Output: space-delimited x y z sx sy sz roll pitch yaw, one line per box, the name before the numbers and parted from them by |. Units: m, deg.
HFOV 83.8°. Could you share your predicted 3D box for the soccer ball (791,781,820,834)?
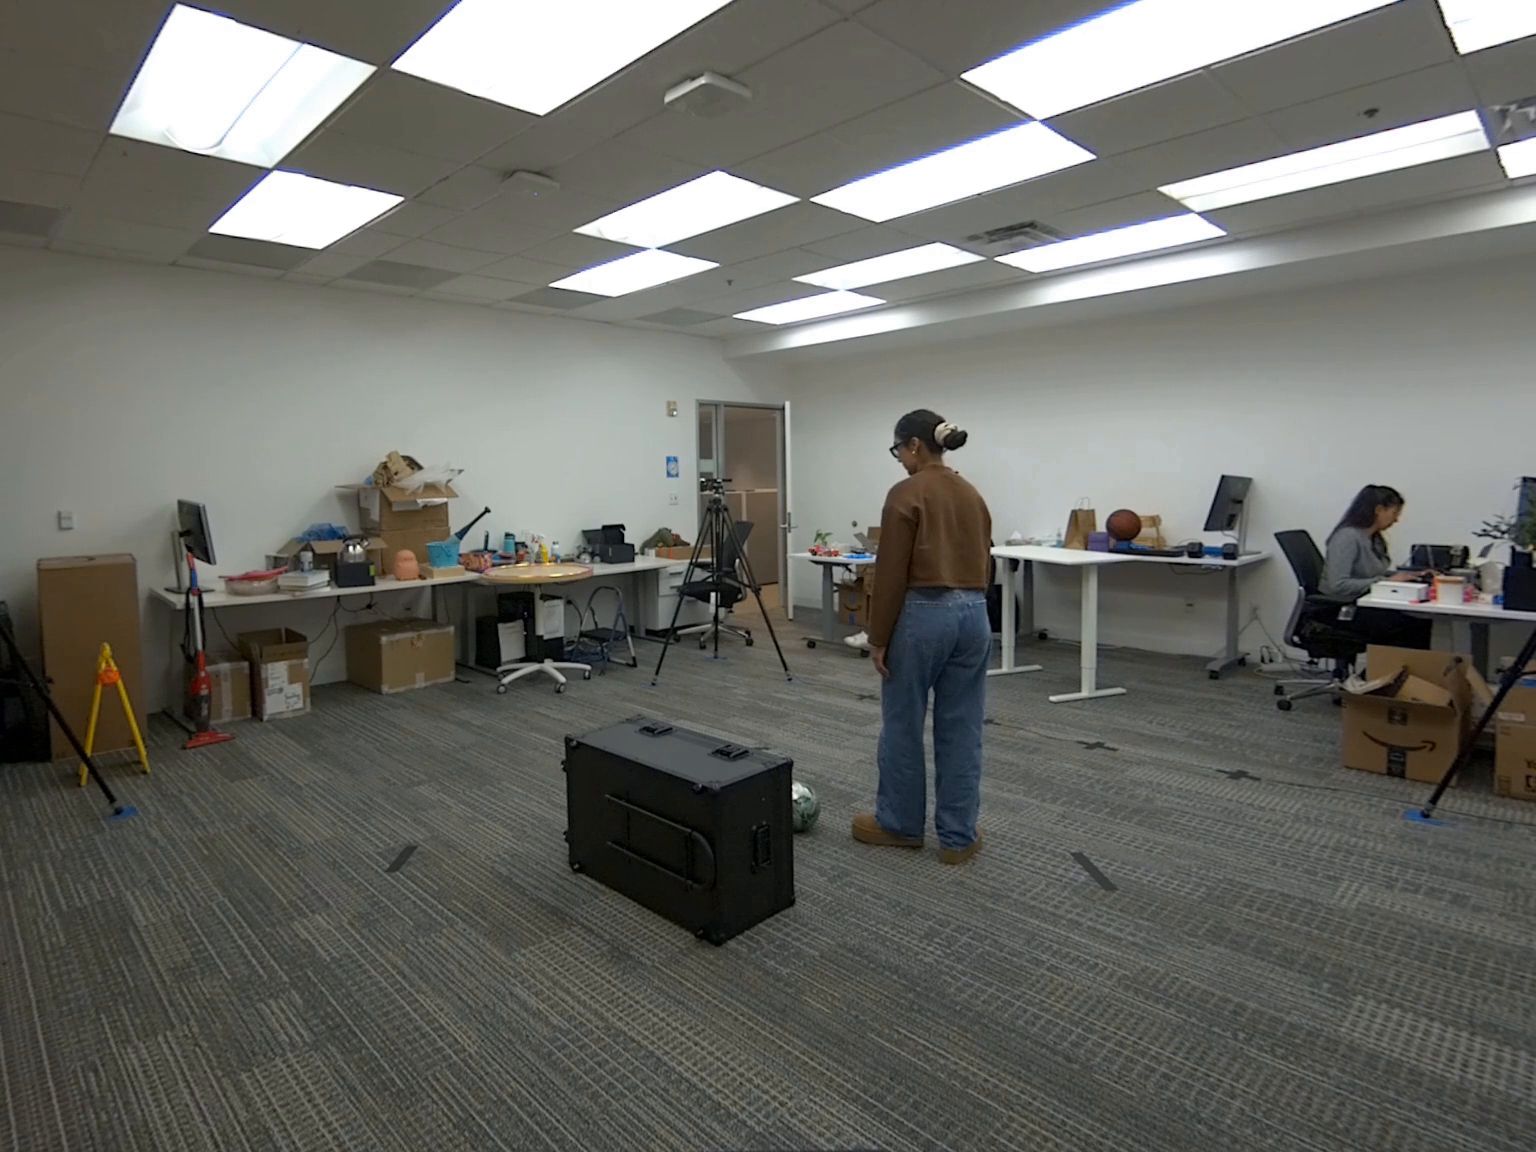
soccer ball | 0.121 0.911 3.406 0.187 0.187 0.188 -1 5 -2
